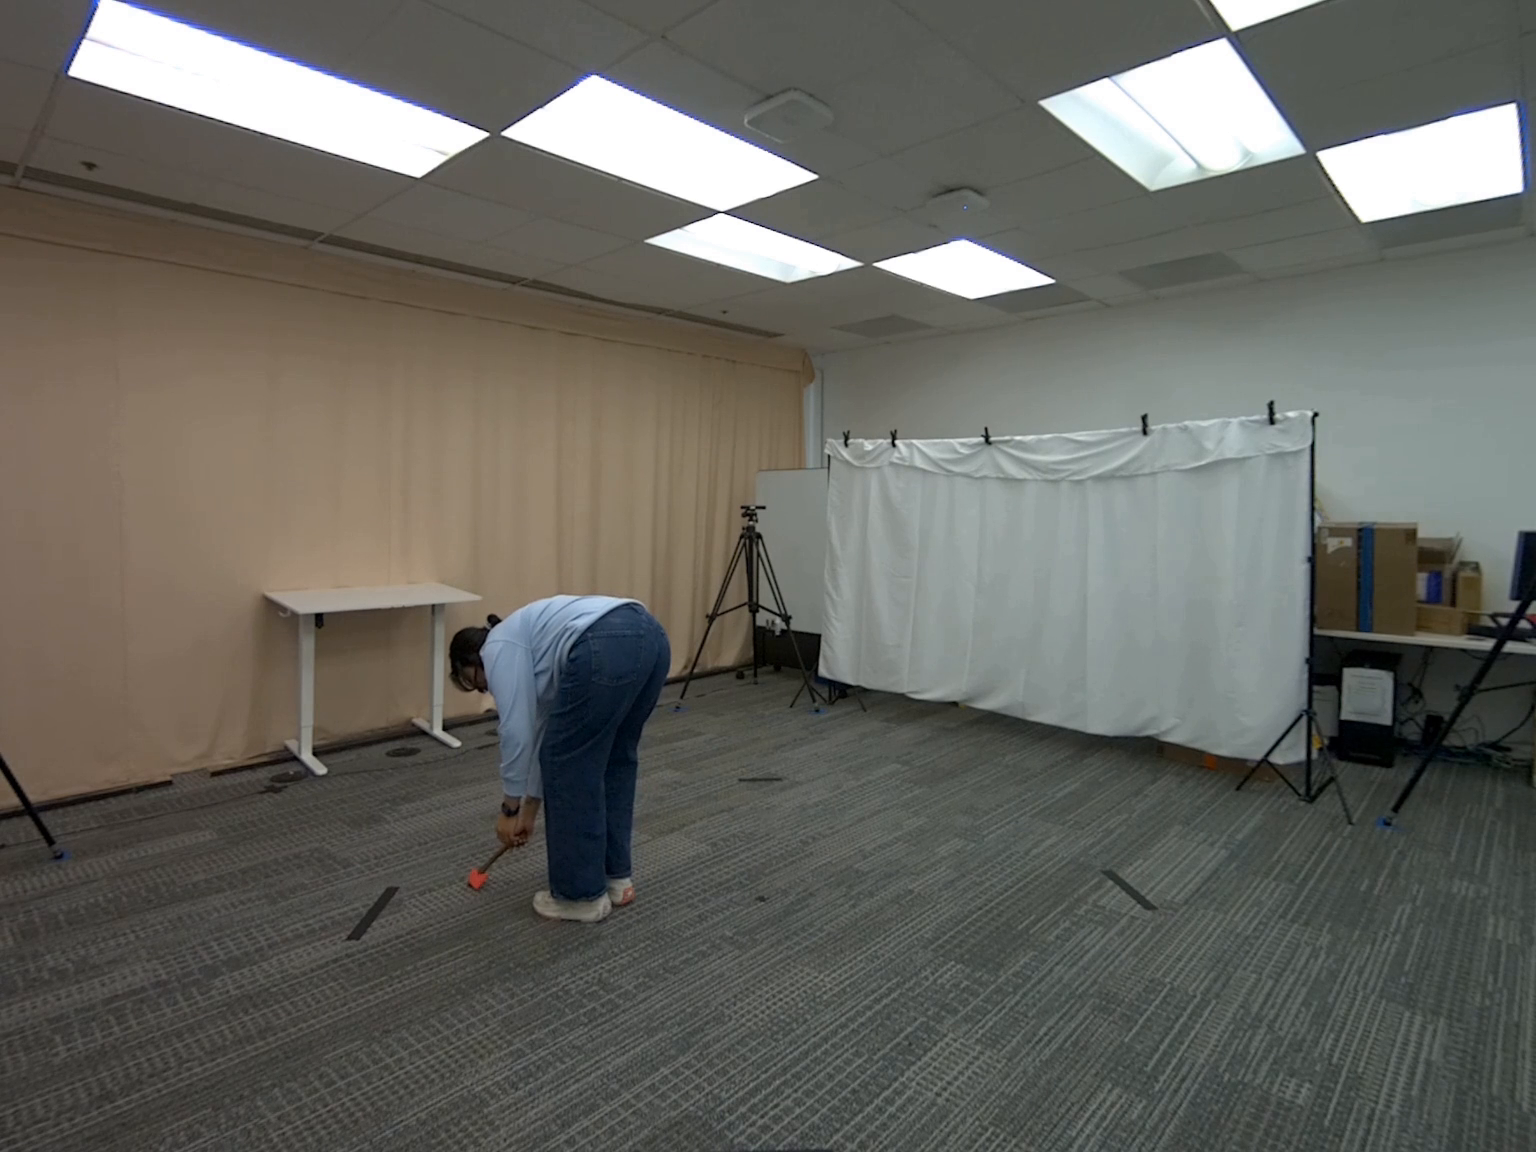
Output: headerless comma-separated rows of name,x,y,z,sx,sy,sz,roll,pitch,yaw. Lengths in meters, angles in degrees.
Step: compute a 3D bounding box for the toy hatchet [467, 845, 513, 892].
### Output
toy hatchet,-1.006,1.065,3.099,0.270,0.029,0.134,-37,23,2
